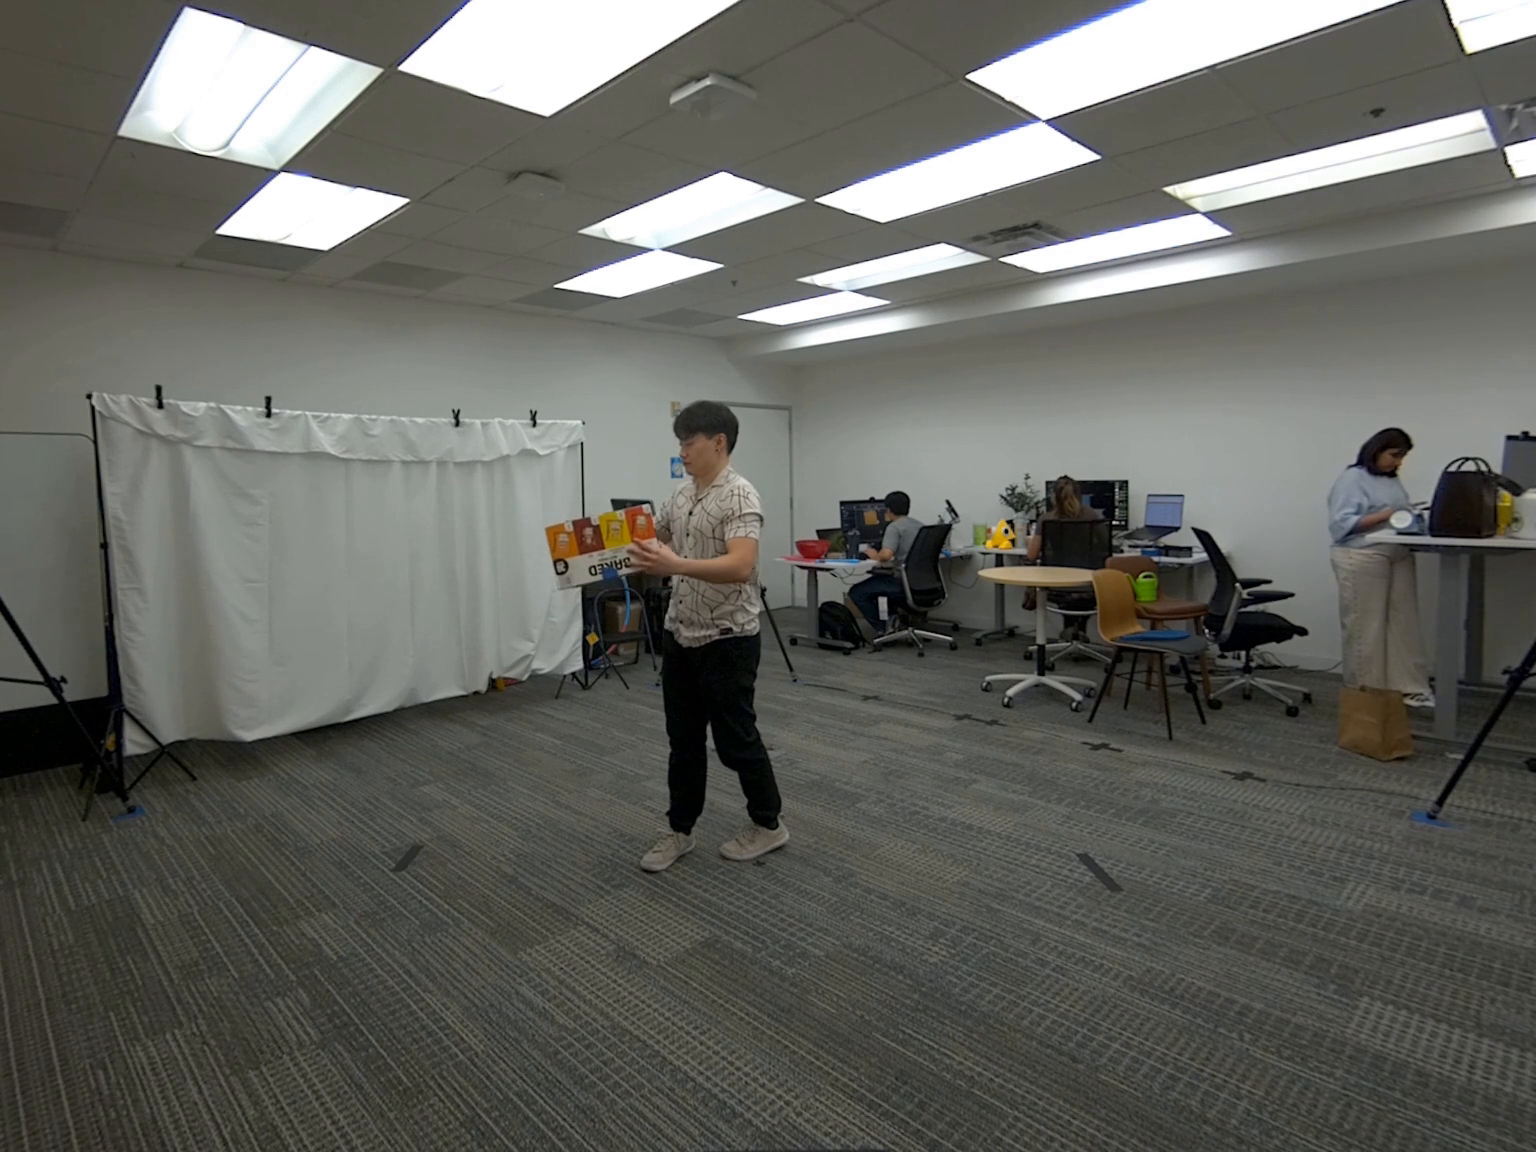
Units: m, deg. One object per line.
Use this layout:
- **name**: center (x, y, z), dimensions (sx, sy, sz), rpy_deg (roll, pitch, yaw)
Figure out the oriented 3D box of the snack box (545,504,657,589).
- **snack box**: center (-0.546, -0.091, 2.882), dimensions (0.338, 0.206, 0.408), rpy_deg (-13, 1, -10)
